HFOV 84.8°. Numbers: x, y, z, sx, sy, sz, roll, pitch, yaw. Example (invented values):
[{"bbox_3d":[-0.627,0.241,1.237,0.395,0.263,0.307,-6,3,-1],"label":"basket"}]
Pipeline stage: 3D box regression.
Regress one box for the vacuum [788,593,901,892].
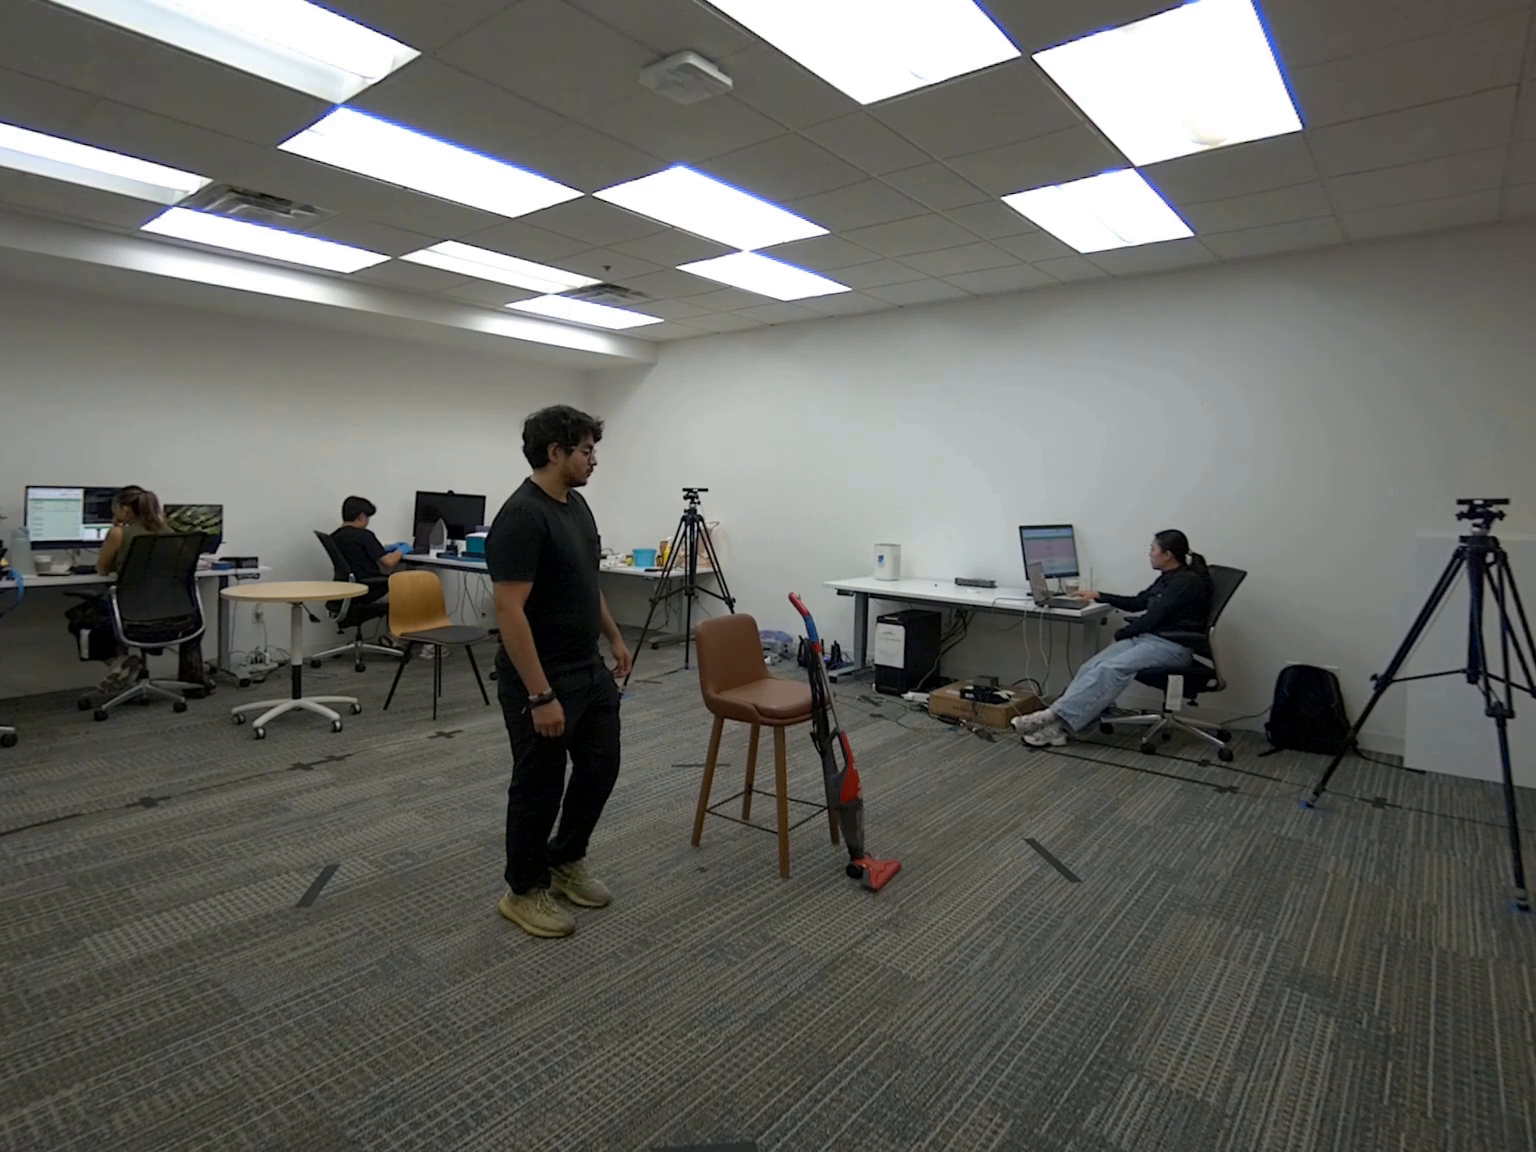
[{"bbox_3d":[0.228,0.579,3.157,0.146,1.059,0.246,-20,-8,25],"label":"vacuum"}]
